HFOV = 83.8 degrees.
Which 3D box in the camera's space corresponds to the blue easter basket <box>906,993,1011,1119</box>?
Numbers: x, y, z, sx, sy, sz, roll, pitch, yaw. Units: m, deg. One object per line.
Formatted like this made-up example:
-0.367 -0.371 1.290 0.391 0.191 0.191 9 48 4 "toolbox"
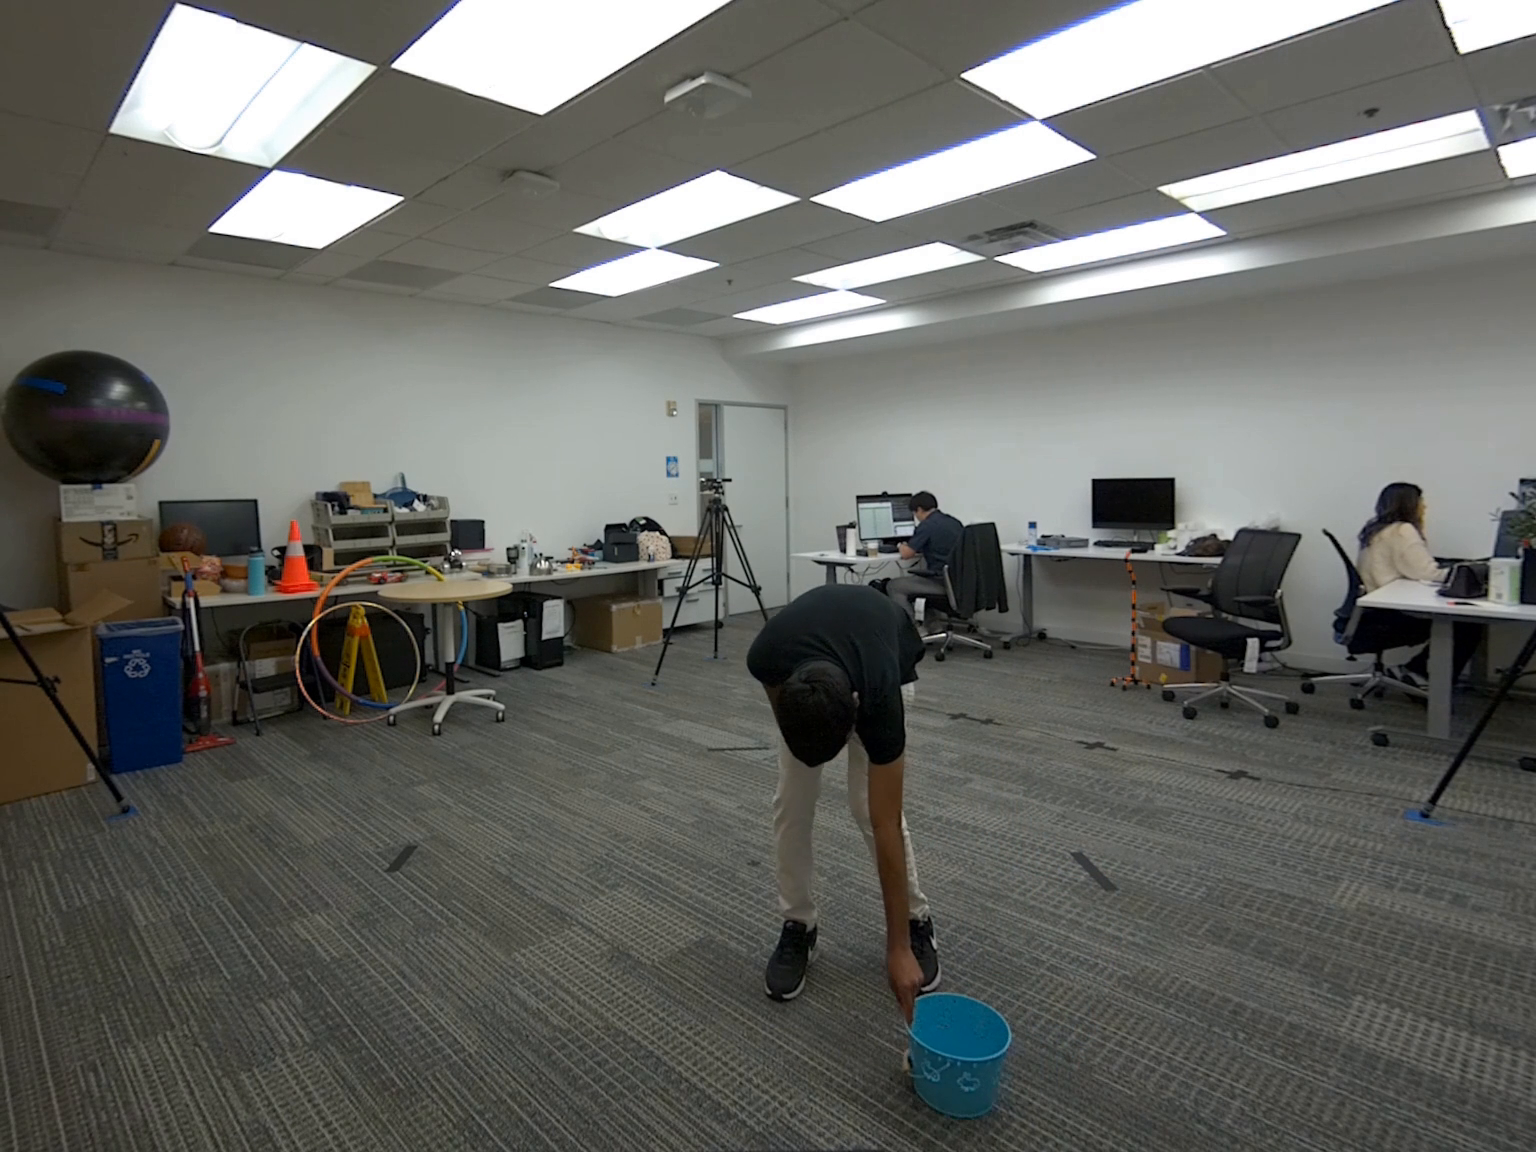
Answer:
0.436 1.091 1.948 0.243 0.155 0.245 0 5 -2 "blue easter basket"
